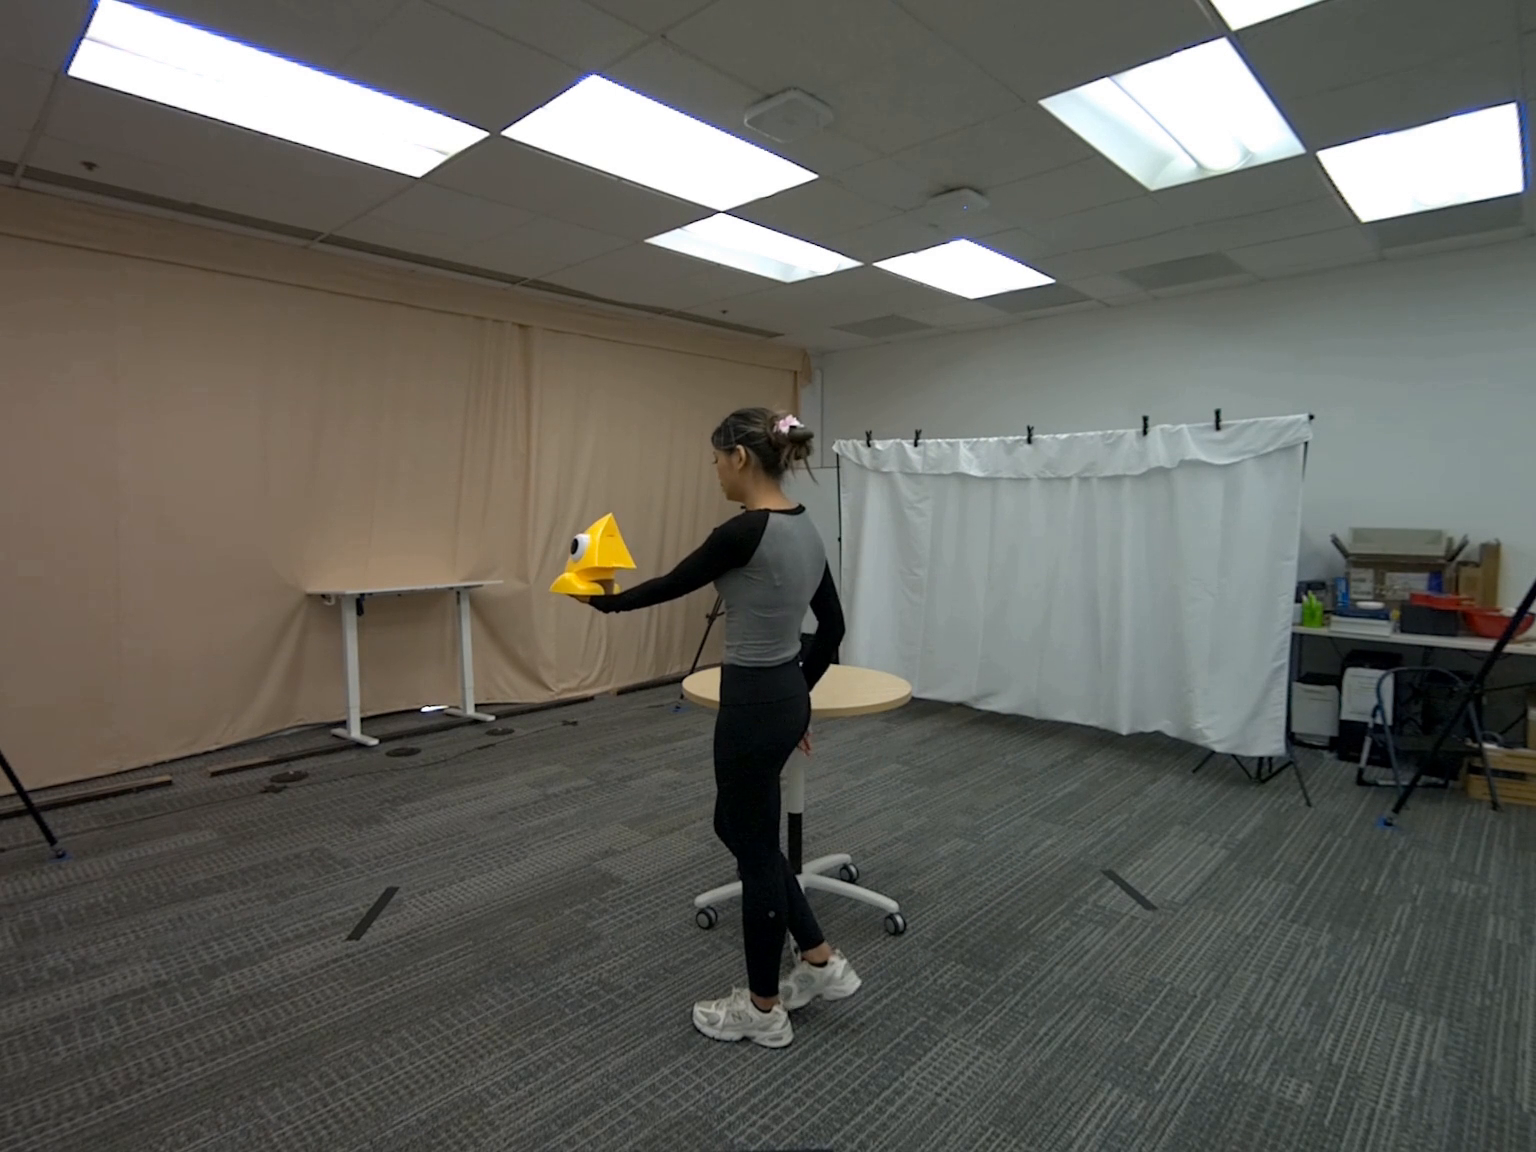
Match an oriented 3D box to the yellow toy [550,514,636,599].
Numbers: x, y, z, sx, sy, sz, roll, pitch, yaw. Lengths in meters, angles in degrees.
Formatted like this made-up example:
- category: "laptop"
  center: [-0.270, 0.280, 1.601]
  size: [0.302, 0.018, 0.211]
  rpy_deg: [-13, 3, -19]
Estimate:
- category: "yellow toy"
  center: [-0.499, -0.063, 2.395]
  size: [0.198, 0.231, 0.200]
  rpy_deg: [3, 0, 23]
